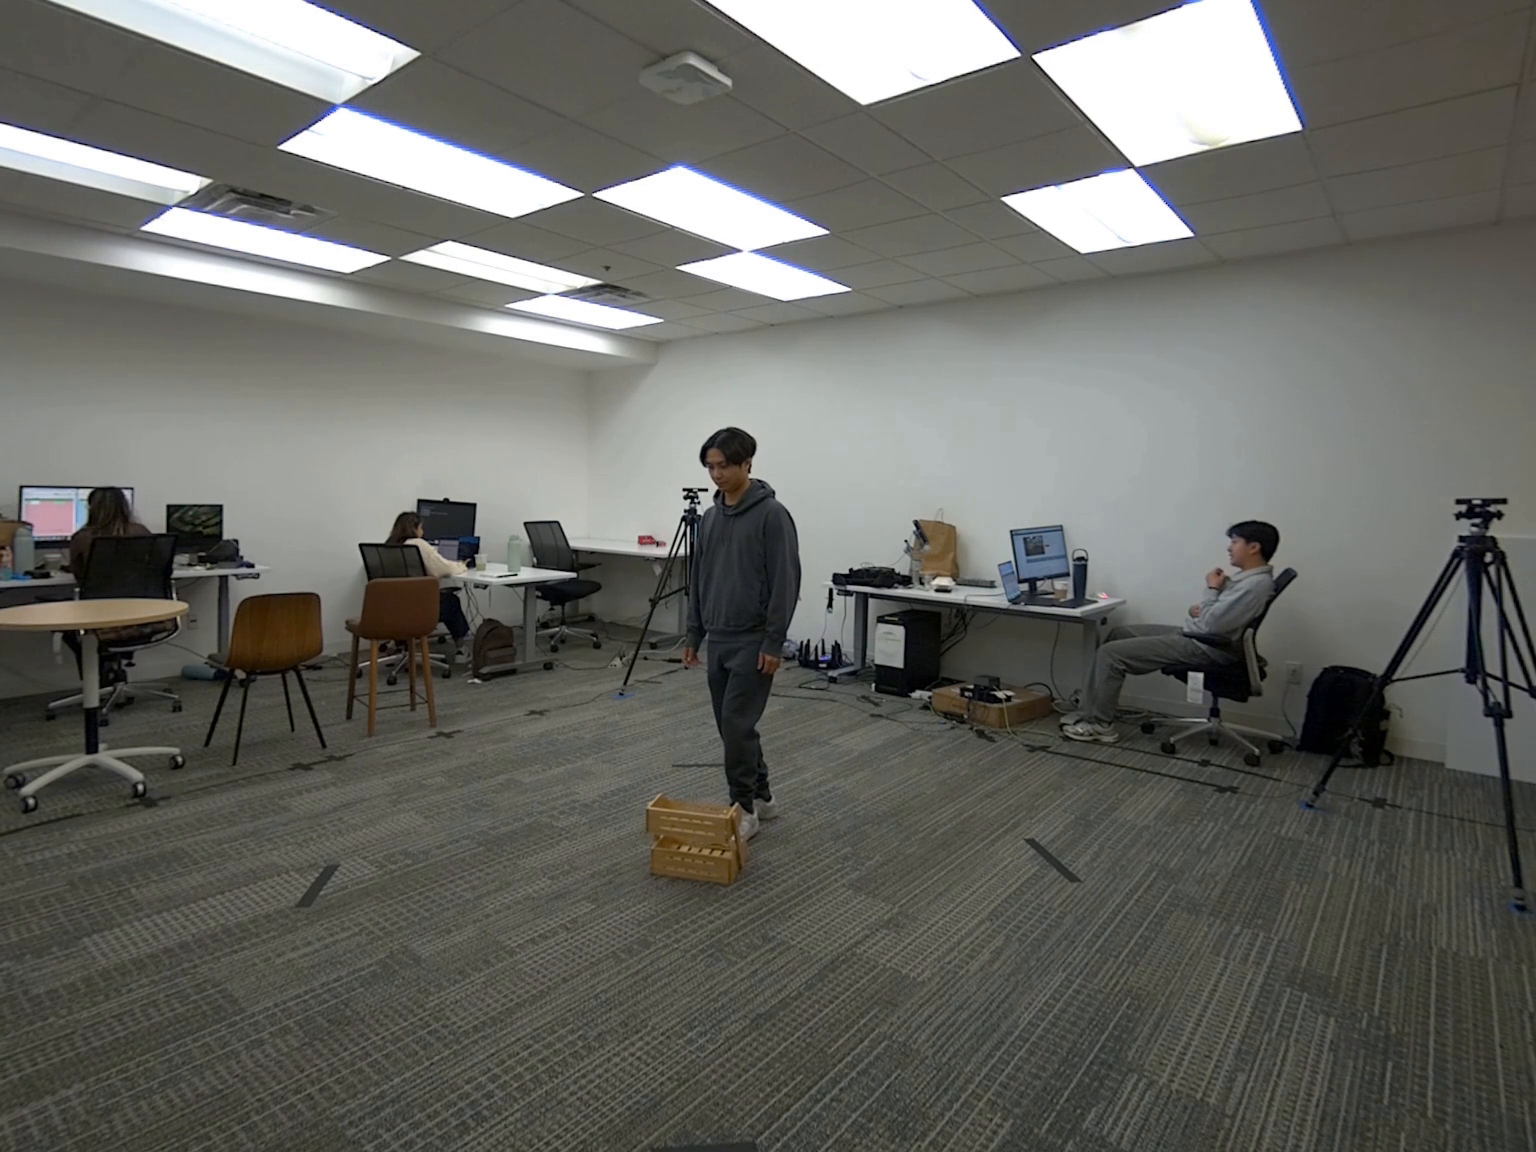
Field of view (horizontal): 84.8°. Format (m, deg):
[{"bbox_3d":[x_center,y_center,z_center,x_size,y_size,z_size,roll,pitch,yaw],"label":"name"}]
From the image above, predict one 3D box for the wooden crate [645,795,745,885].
[{"bbox_3d":[-0.265,0.935,3.122,0.330,0.272,0.298,2,4,14],"label":"wooden crate"}]
